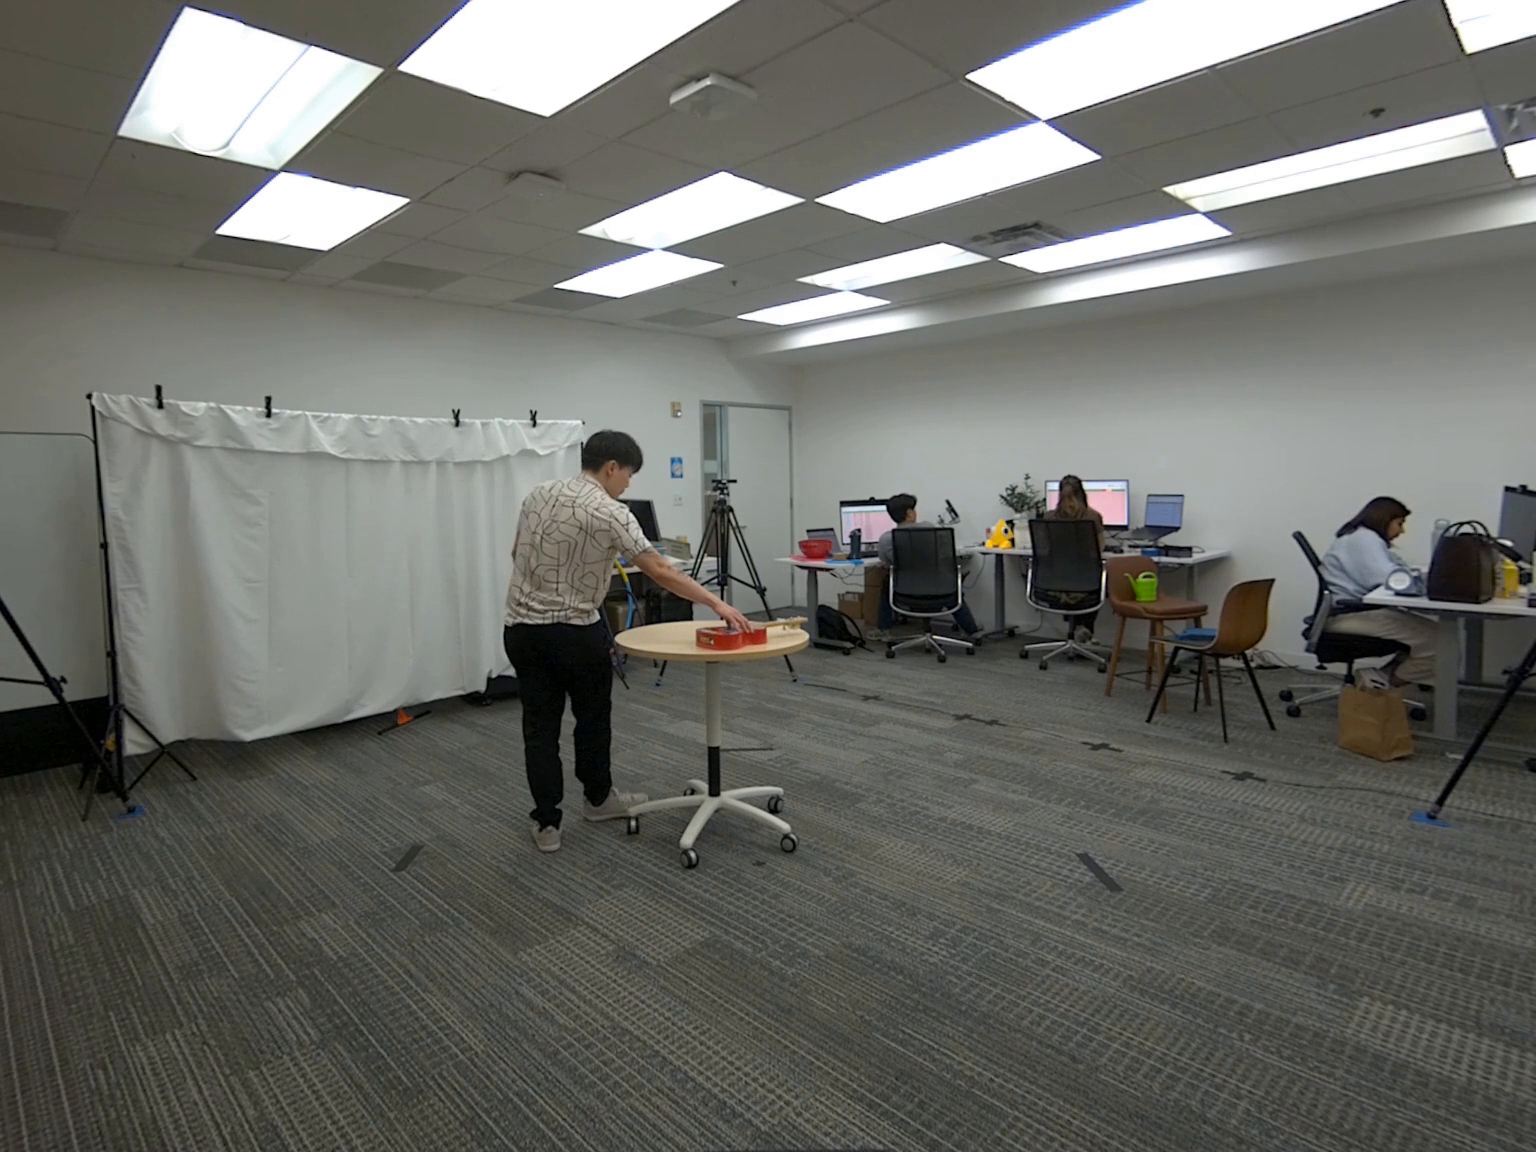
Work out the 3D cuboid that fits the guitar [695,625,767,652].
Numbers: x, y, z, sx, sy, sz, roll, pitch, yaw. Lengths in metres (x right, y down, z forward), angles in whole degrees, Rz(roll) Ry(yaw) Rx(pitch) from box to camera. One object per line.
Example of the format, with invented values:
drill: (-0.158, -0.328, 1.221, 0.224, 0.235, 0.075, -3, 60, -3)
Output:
guitar: (-0.033, 0.220, 3.231, 0.487, 0.070, 0.198, -3, 6, -27)
